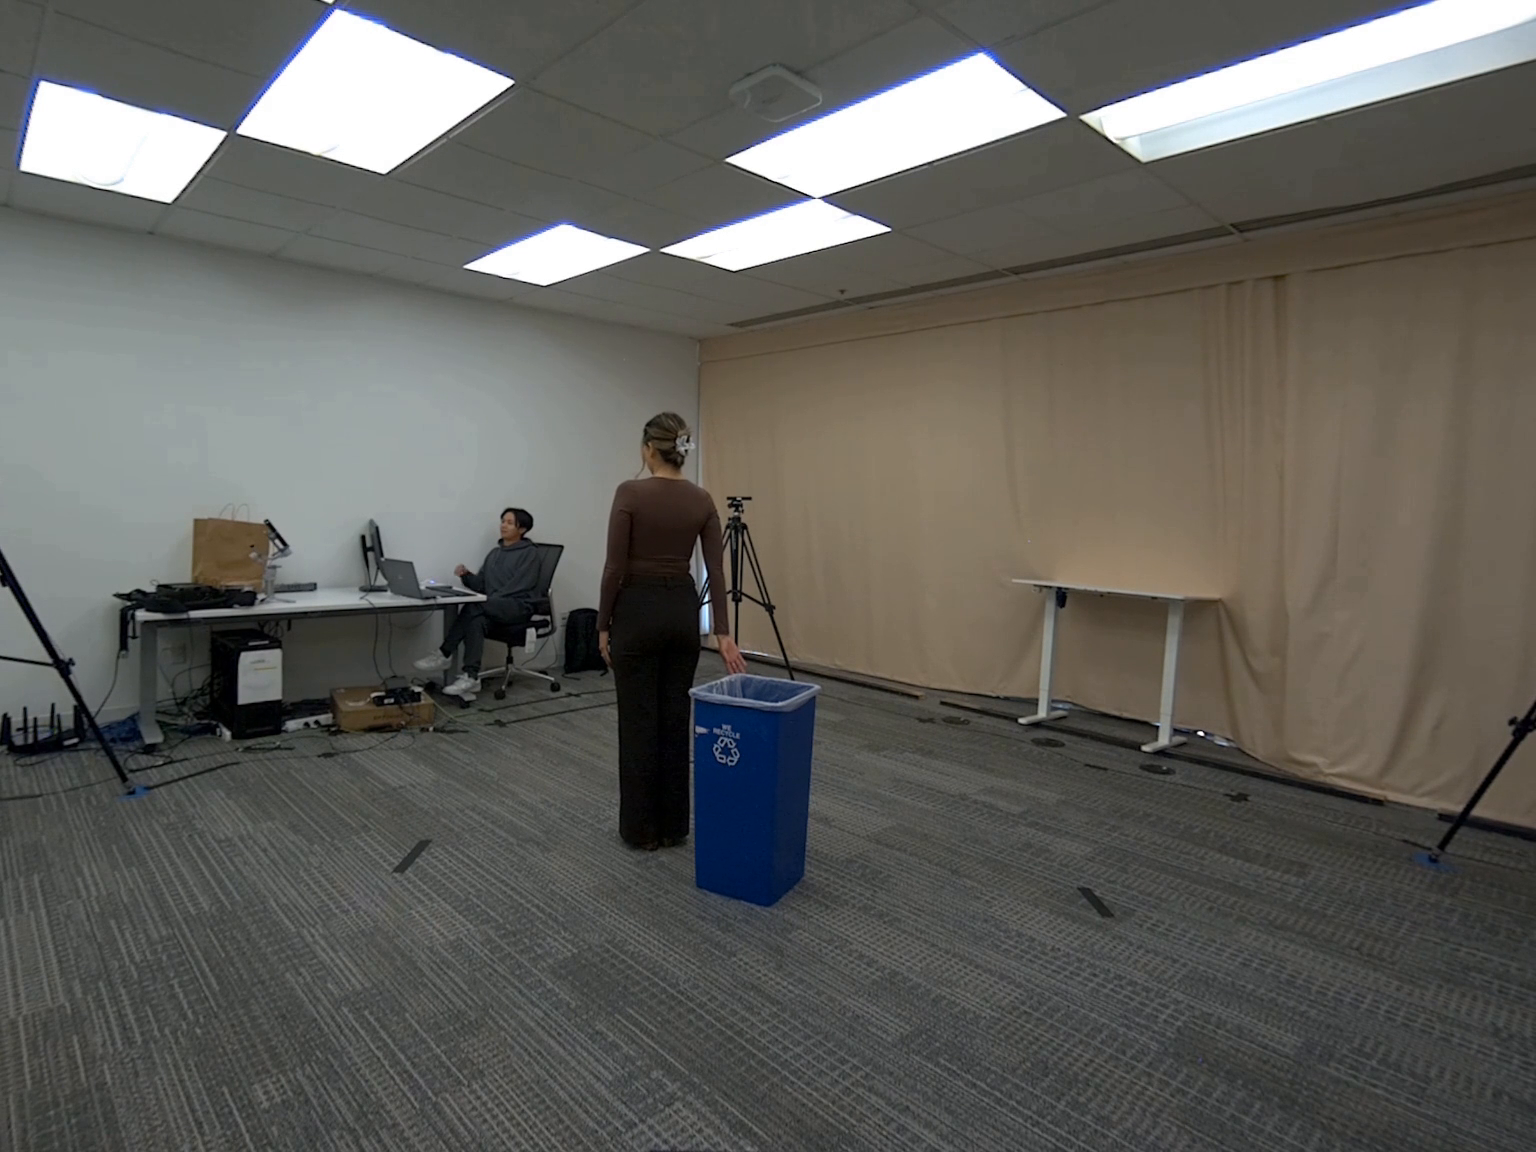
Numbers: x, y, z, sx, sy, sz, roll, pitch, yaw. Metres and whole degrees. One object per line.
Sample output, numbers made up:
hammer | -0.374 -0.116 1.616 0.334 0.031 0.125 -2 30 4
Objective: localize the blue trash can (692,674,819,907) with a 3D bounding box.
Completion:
blue trash can | -0.062 0.754 3.047 0.386 0.711 0.367 3 5 27
